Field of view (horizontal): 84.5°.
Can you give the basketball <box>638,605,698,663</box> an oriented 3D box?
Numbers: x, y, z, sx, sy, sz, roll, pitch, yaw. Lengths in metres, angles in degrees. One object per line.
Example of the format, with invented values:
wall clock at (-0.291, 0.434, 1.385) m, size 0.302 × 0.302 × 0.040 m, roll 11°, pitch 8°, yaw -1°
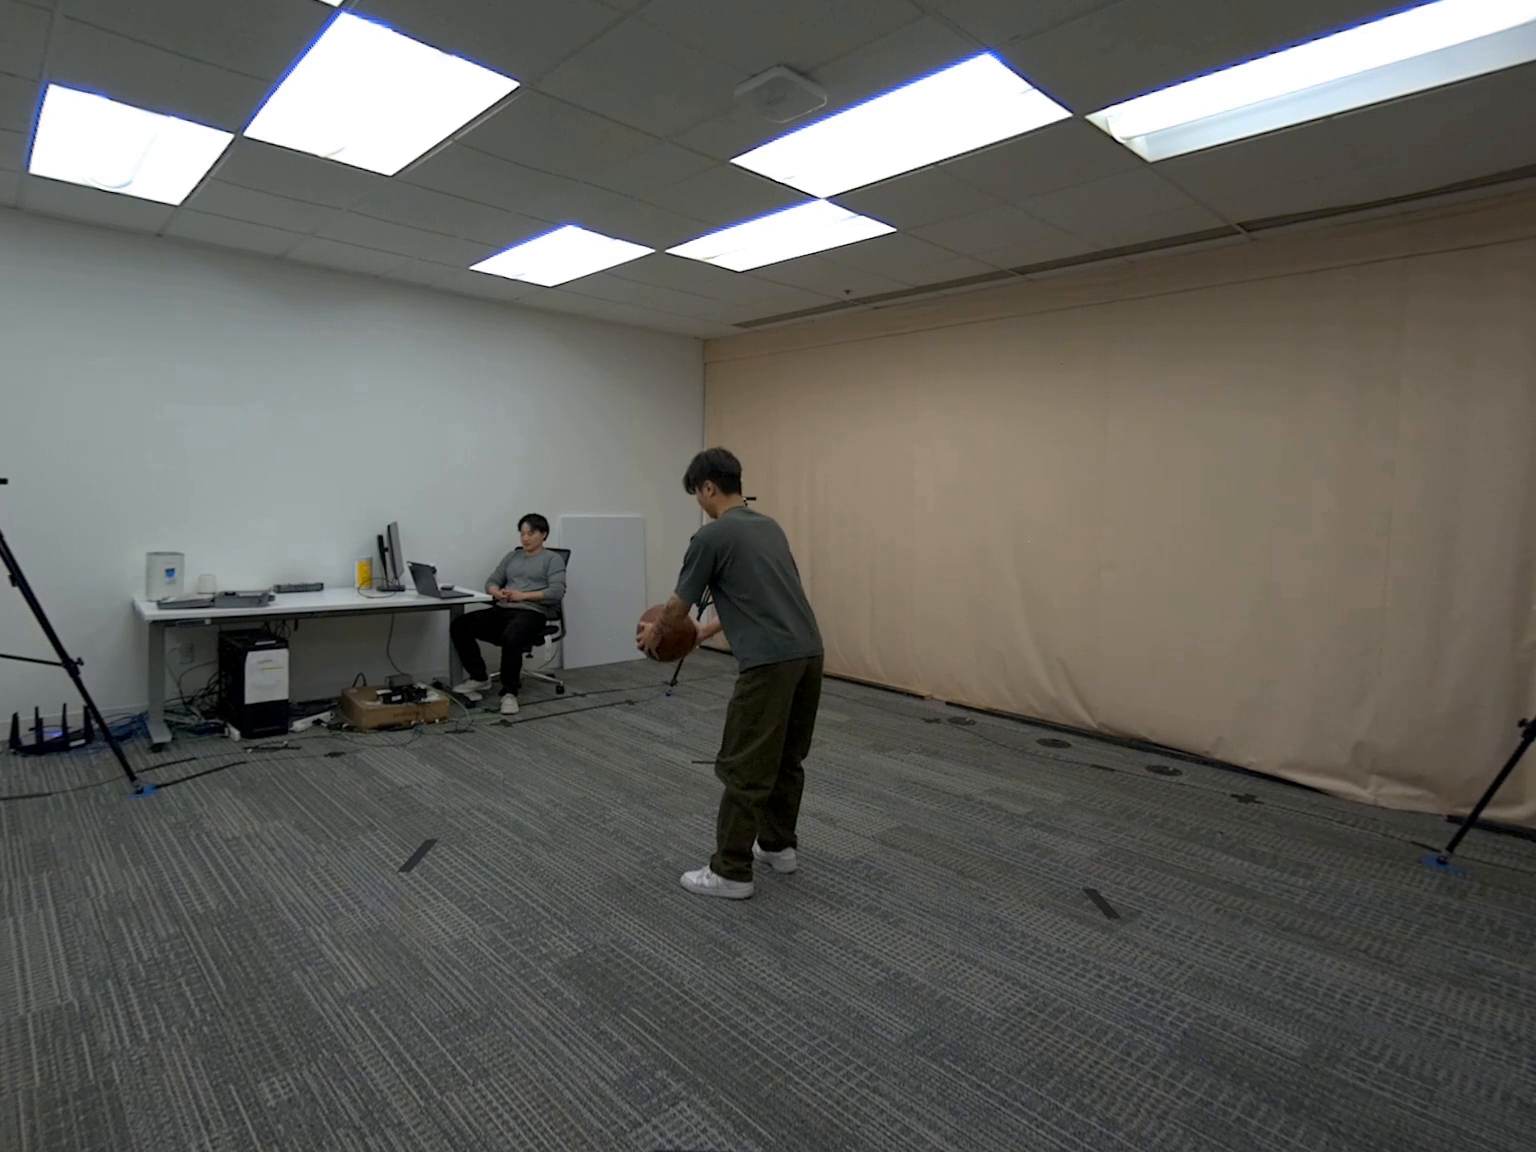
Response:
basketball at (-0.425, 0.234, 3.458) m, size 0.236 × 0.235 × 0.237 m, roll 1°, pitch 4°, yaw -1°
